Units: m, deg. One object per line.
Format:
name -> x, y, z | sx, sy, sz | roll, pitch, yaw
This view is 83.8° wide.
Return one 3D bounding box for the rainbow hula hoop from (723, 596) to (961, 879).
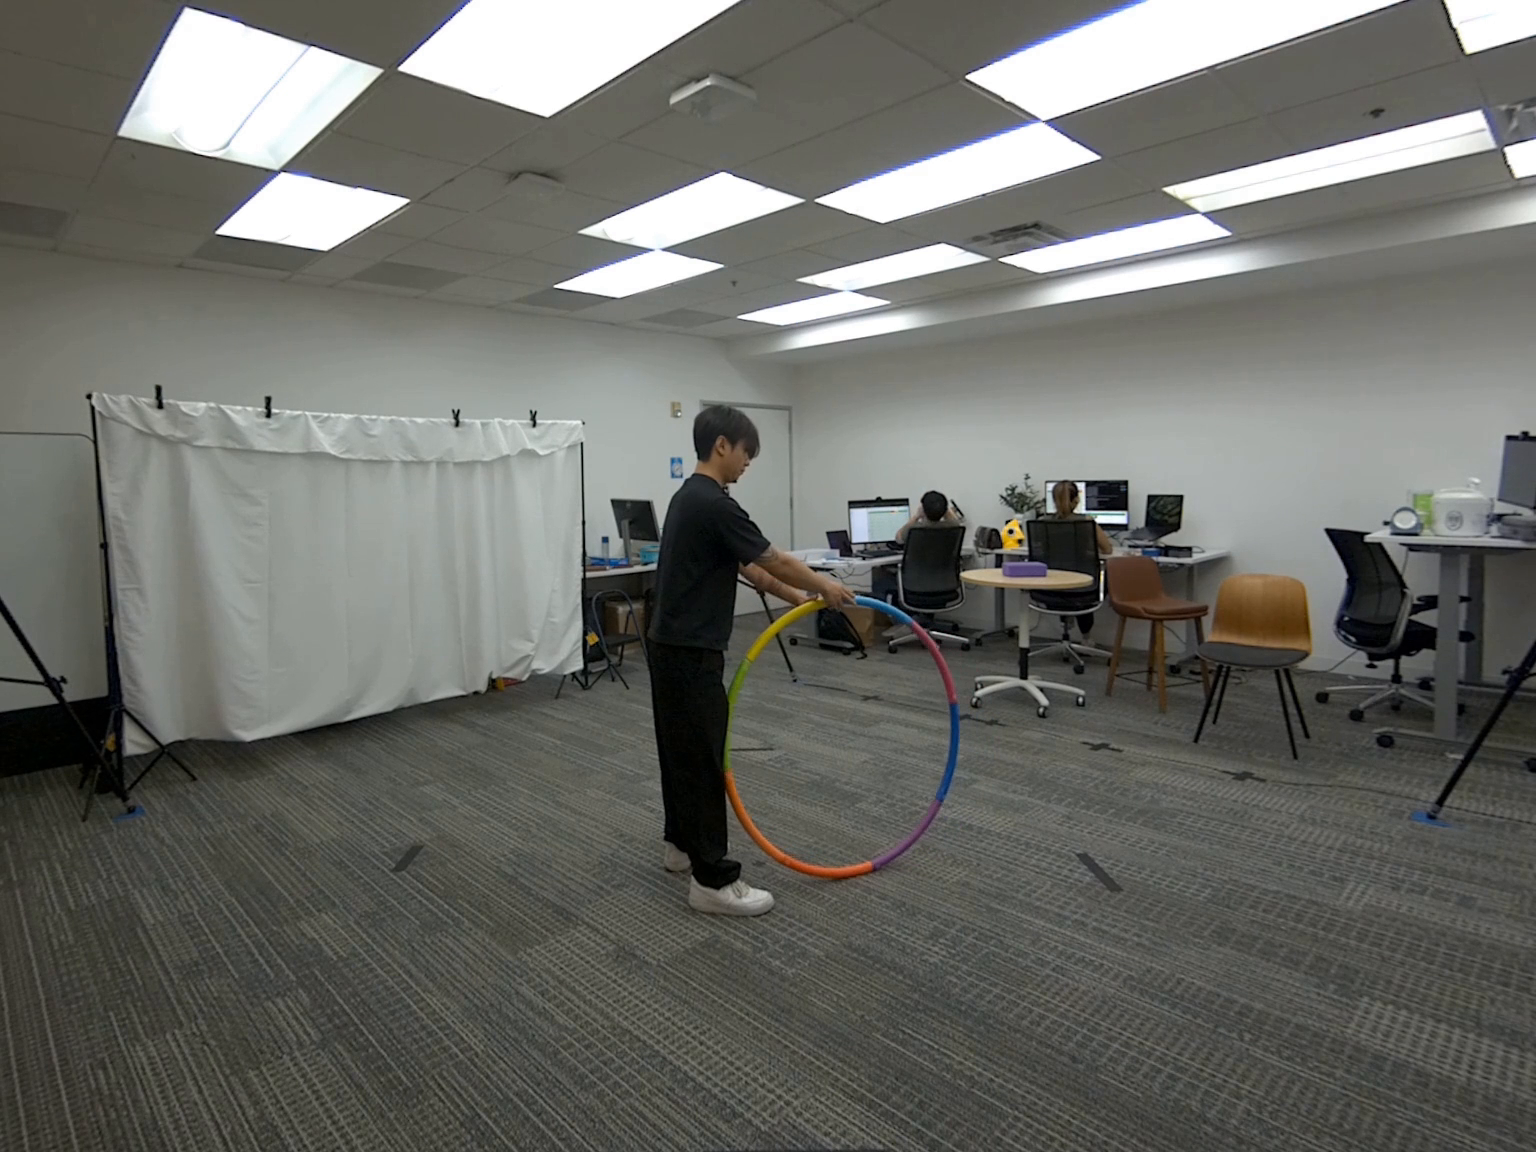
rainbow hula hoop -> 0.290, 0.566, 3.038 | 0.959, 0.982, 0.036 | -3, -4, -24
